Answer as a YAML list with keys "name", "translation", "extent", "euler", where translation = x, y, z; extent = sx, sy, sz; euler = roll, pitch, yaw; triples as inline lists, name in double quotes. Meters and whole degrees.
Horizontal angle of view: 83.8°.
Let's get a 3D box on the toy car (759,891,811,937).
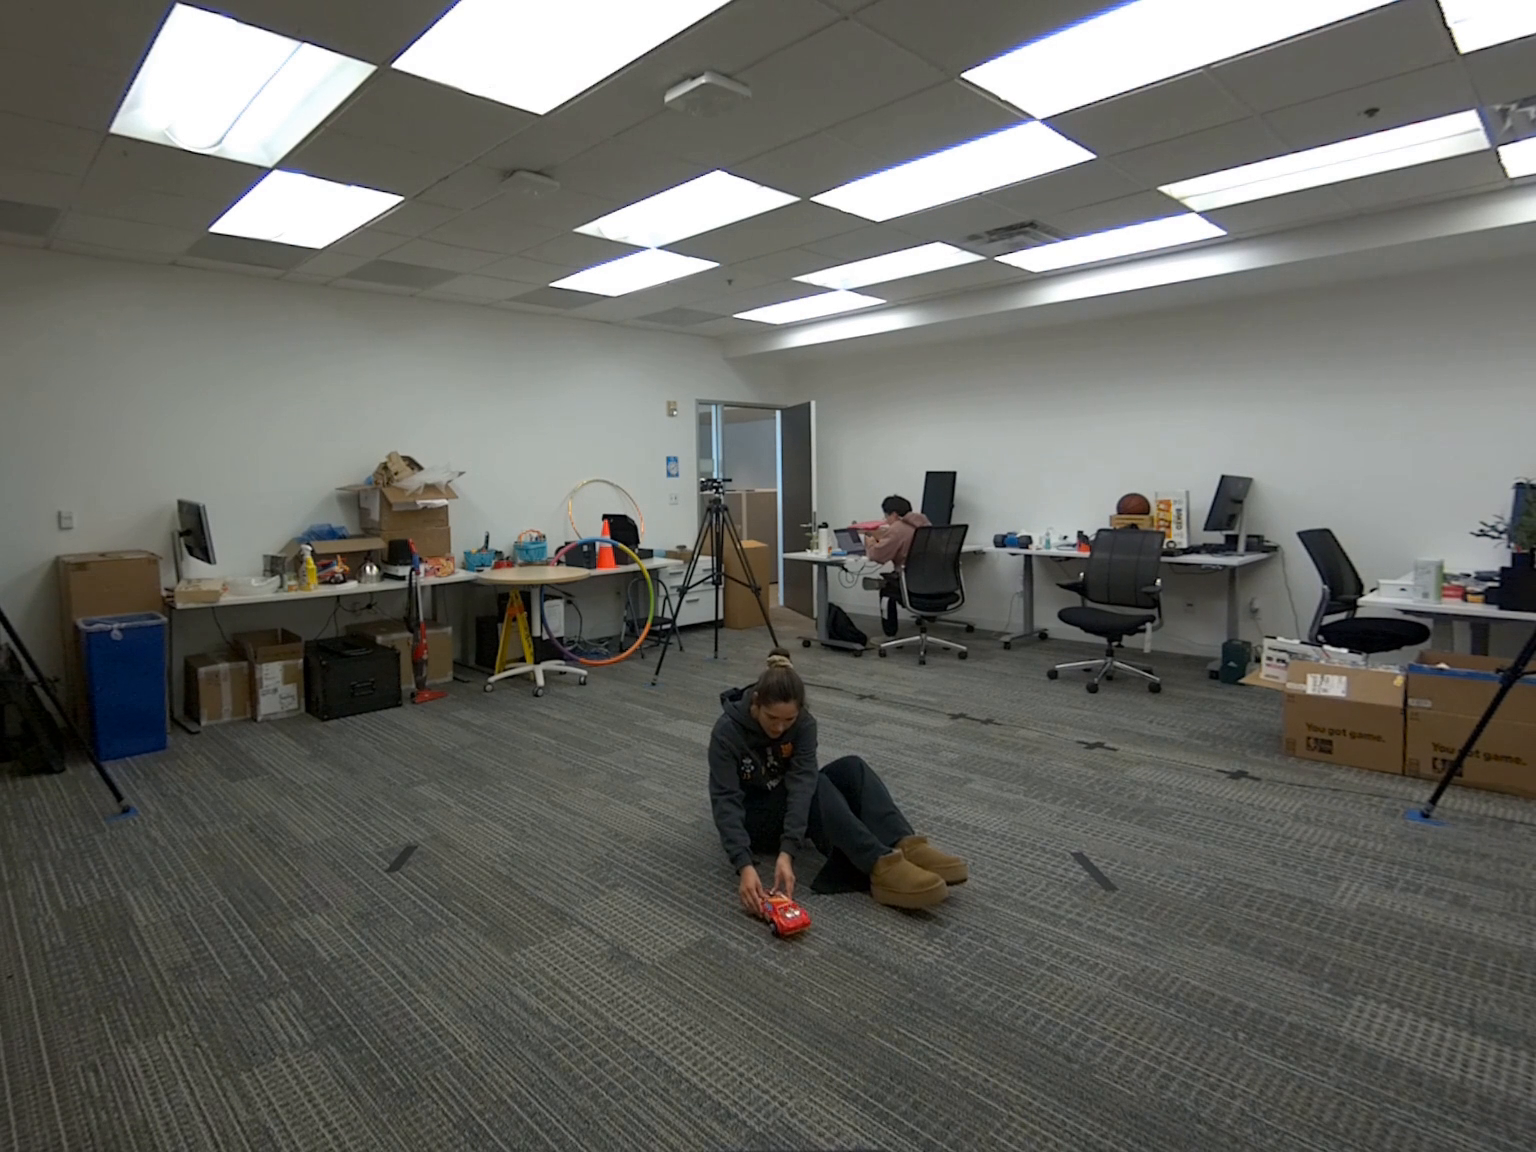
- name: "toy car"
  translation: [0.039, 1.058, 2.657]
  extent: [0.128, 0.084, 0.257]
  euler: [-7, -6, -25]
